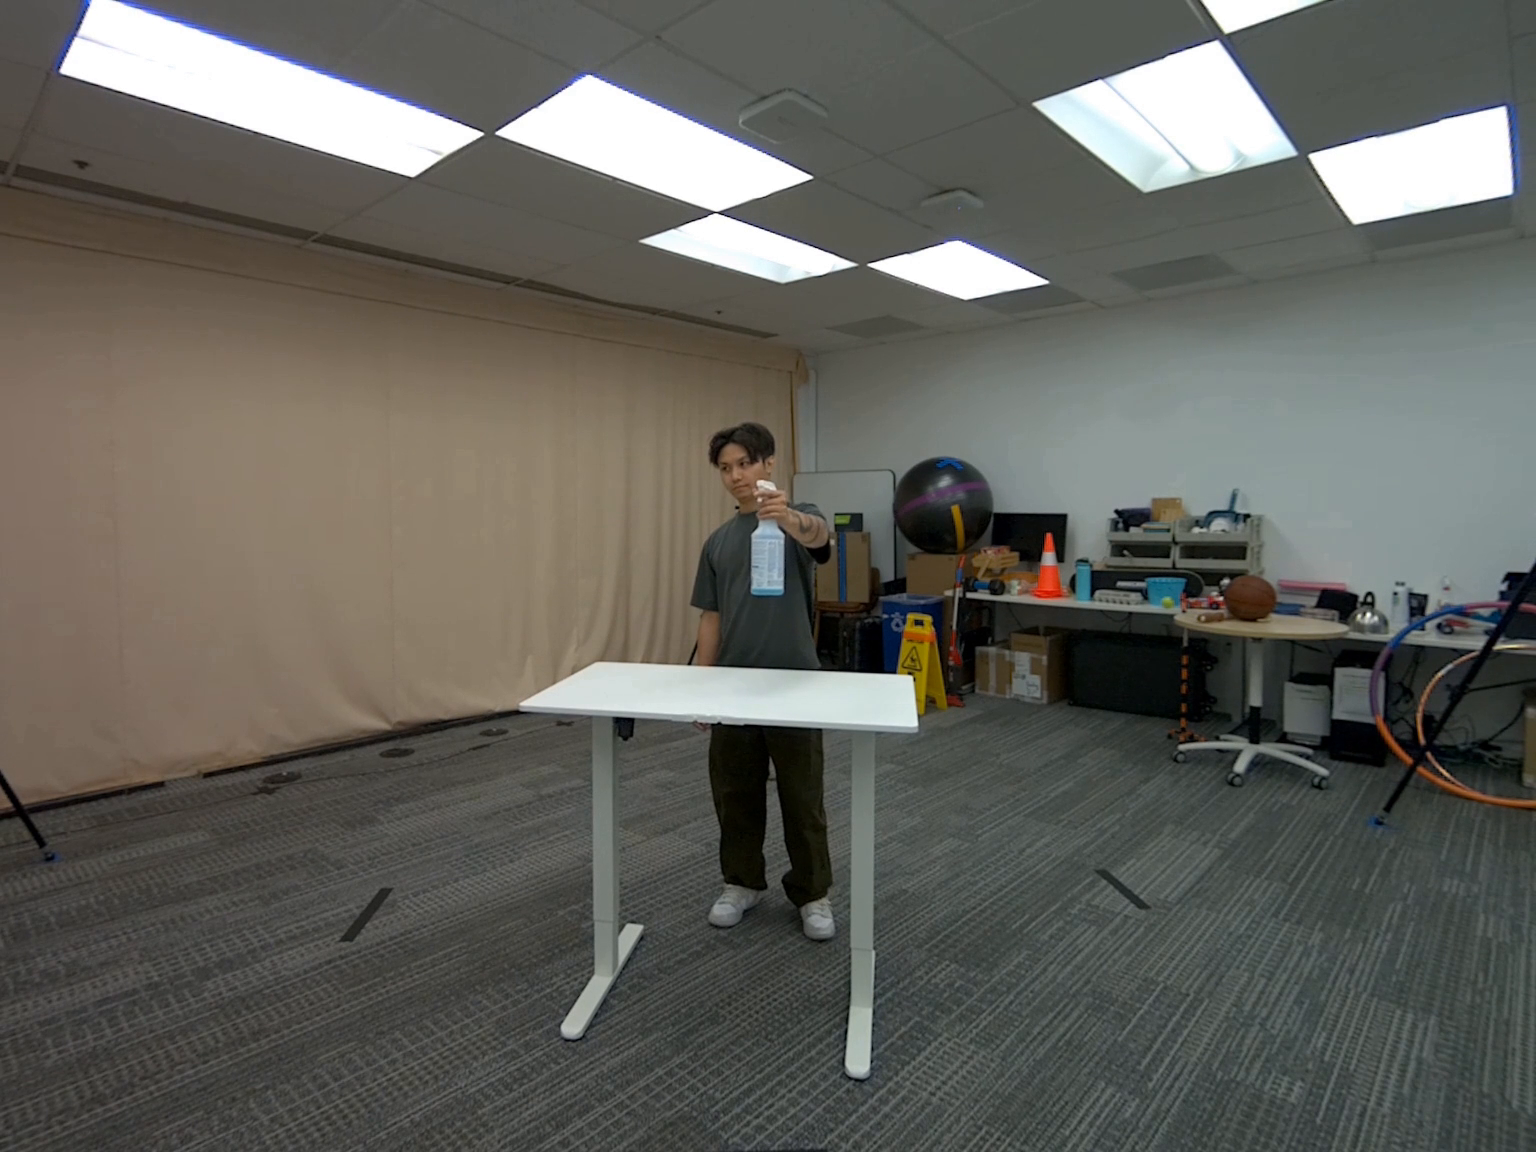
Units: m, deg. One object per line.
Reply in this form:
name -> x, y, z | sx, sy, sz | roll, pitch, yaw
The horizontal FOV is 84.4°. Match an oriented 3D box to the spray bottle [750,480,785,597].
spray bottle -> -0.004, -0.094, 2.219 | 0.087, 0.297, 0.089 | 0, -1, -34
